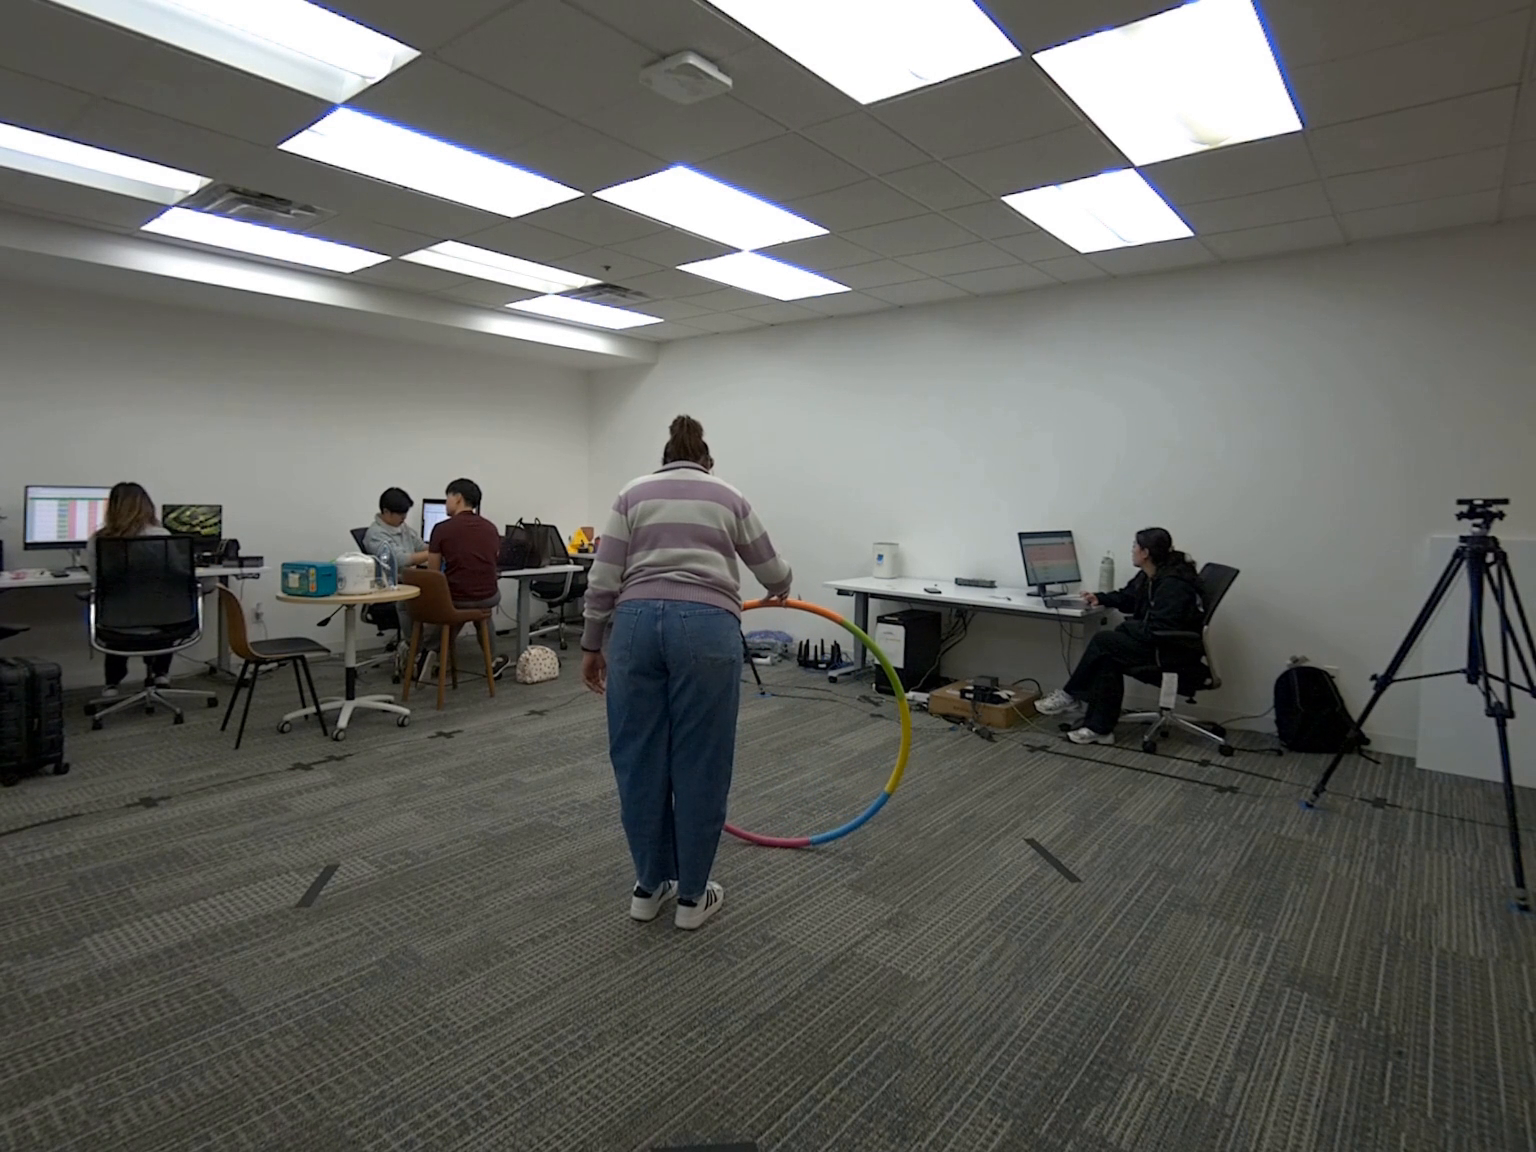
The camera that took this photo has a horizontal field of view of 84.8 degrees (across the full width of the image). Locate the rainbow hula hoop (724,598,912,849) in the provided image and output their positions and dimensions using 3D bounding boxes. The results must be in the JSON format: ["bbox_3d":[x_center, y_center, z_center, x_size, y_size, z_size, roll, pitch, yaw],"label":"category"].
[{"bbox_3d":[0.039,0.571,3.276,0.989,0.972,0.035,2,6,10],"label":"rainbow hula hoop"}]
